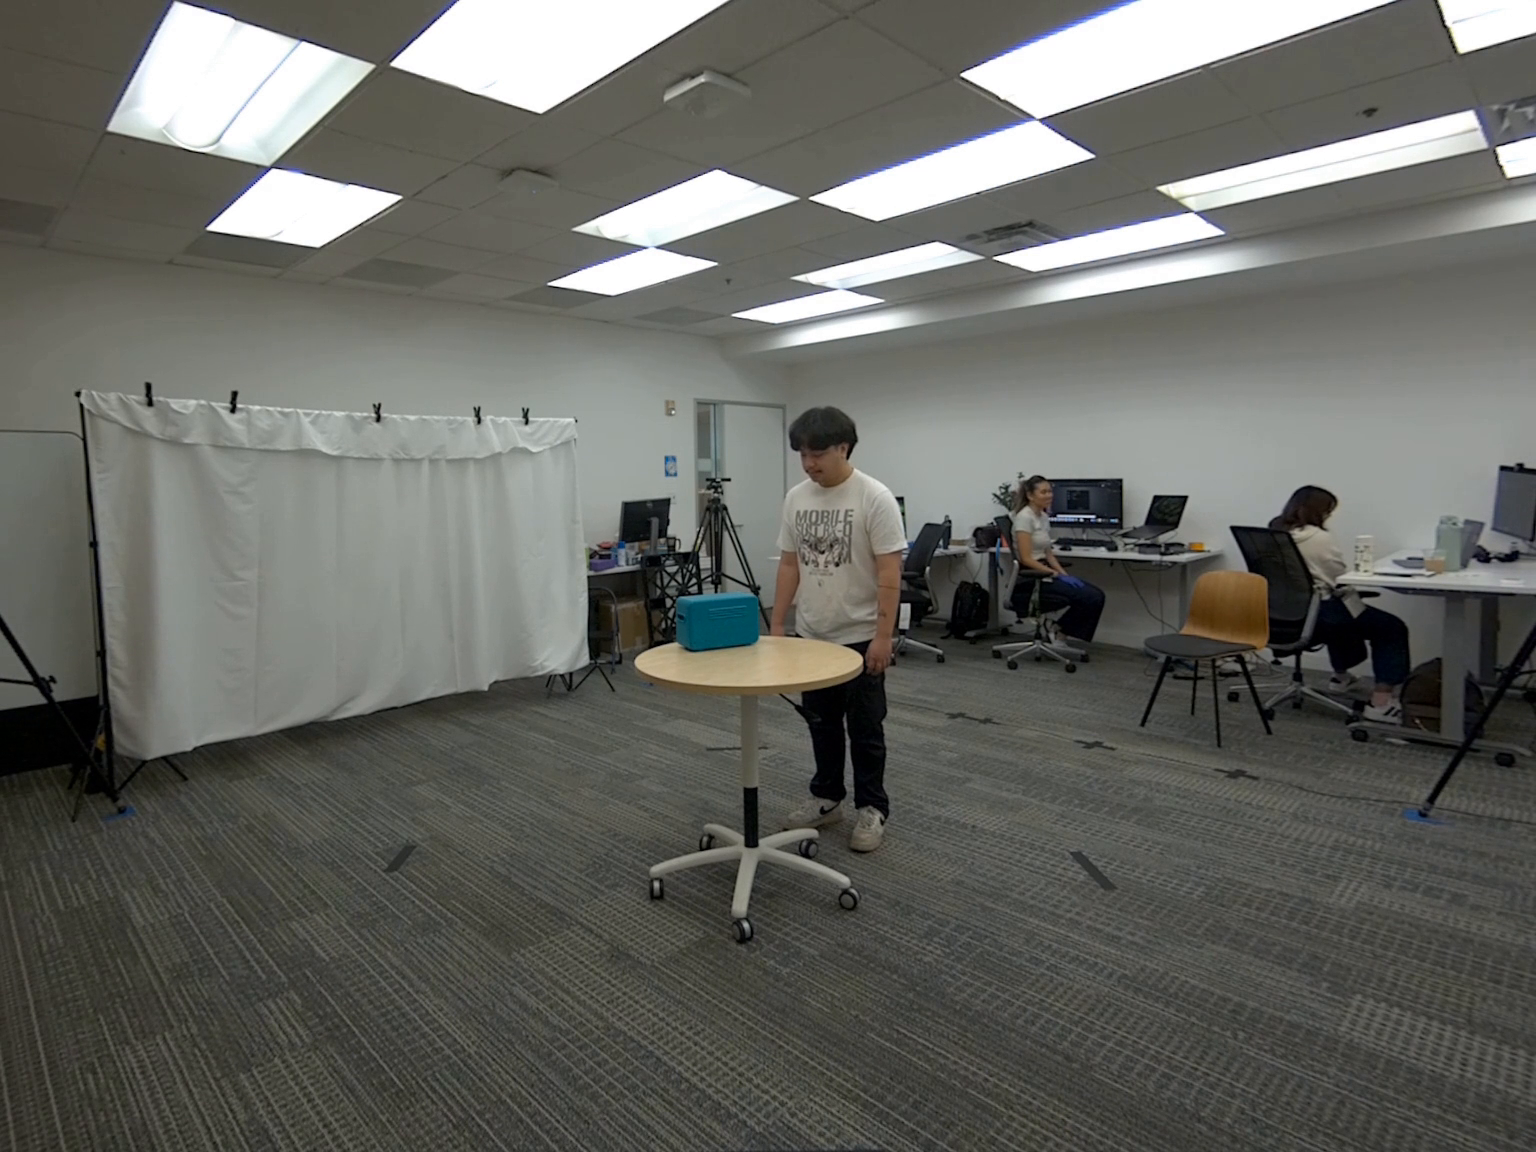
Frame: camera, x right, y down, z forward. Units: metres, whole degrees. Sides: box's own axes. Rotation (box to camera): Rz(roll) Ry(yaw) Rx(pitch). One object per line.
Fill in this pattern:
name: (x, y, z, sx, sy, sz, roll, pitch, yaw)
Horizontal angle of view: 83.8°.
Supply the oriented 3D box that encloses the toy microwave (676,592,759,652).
toy microwave: (-0.186, 0.159, 3.093, 0.280, 0.183, 0.156, -4, 6, -27)
